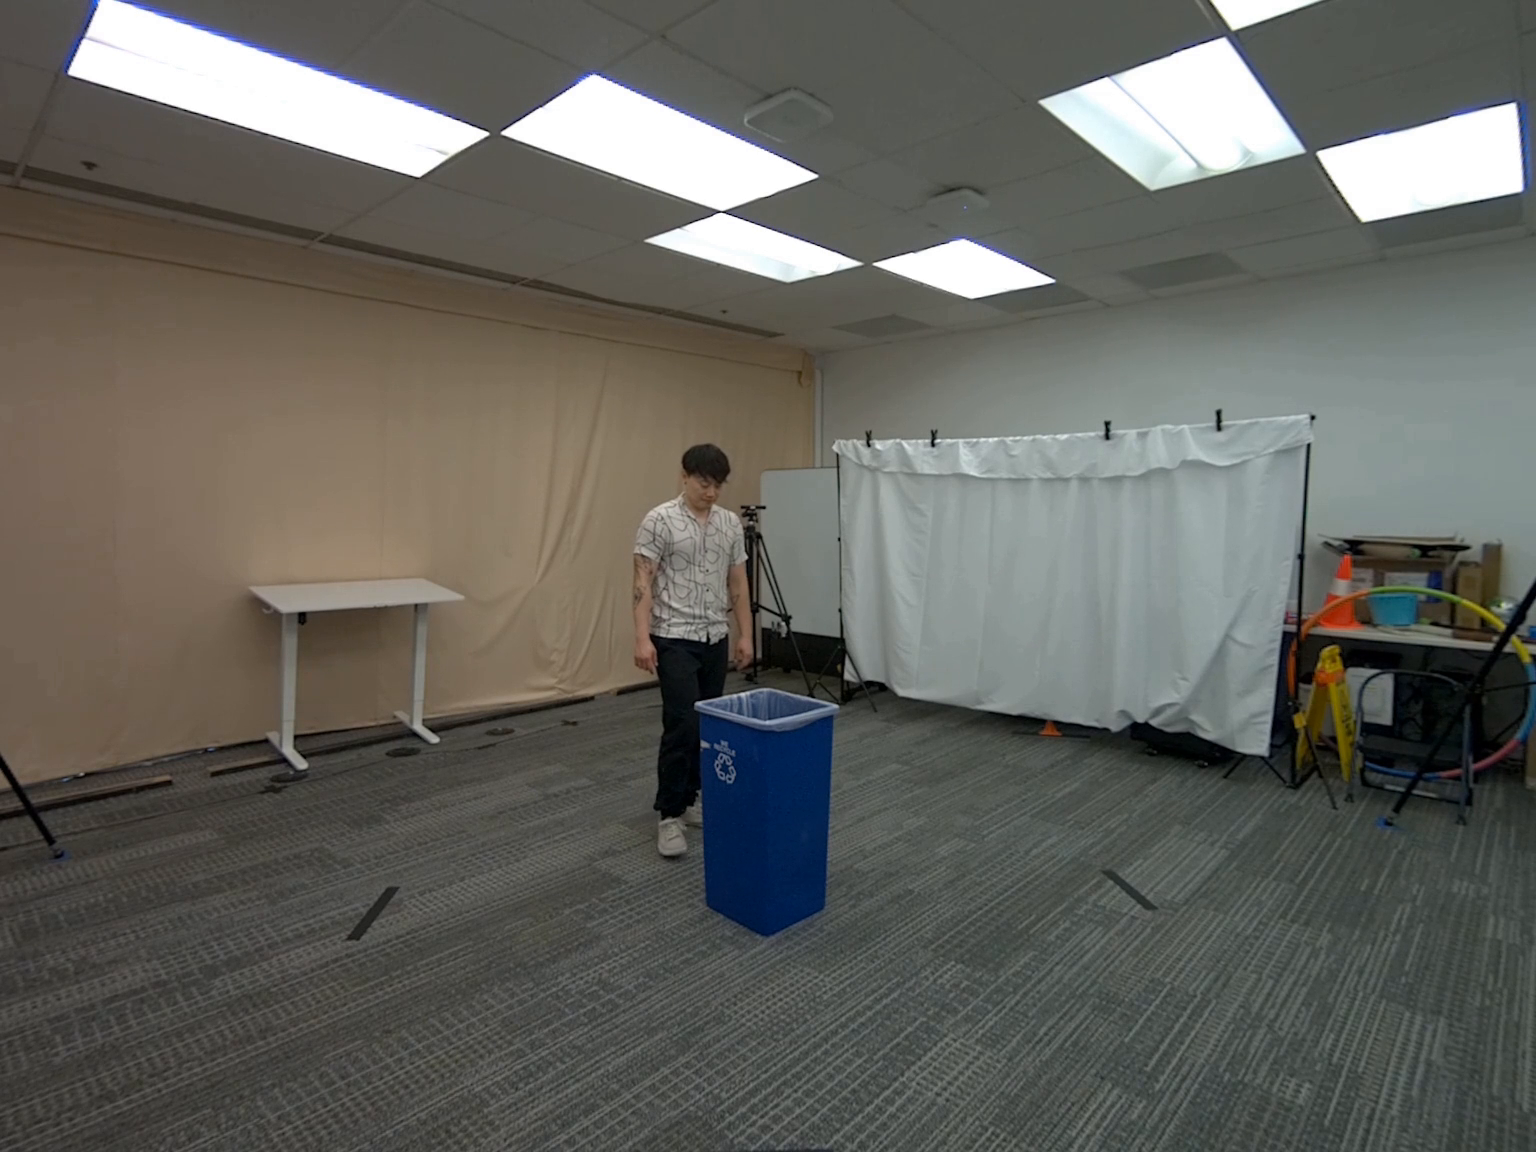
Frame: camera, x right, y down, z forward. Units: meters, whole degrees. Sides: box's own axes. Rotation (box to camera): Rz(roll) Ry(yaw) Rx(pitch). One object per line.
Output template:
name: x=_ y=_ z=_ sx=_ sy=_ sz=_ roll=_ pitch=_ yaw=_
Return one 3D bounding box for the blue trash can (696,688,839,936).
blue trash can: x=-0.004 y=0.793 z=2.893 sx=0.362 sy=0.712 sz=0.391 roll=-3 pitch=5 yaw=-45
